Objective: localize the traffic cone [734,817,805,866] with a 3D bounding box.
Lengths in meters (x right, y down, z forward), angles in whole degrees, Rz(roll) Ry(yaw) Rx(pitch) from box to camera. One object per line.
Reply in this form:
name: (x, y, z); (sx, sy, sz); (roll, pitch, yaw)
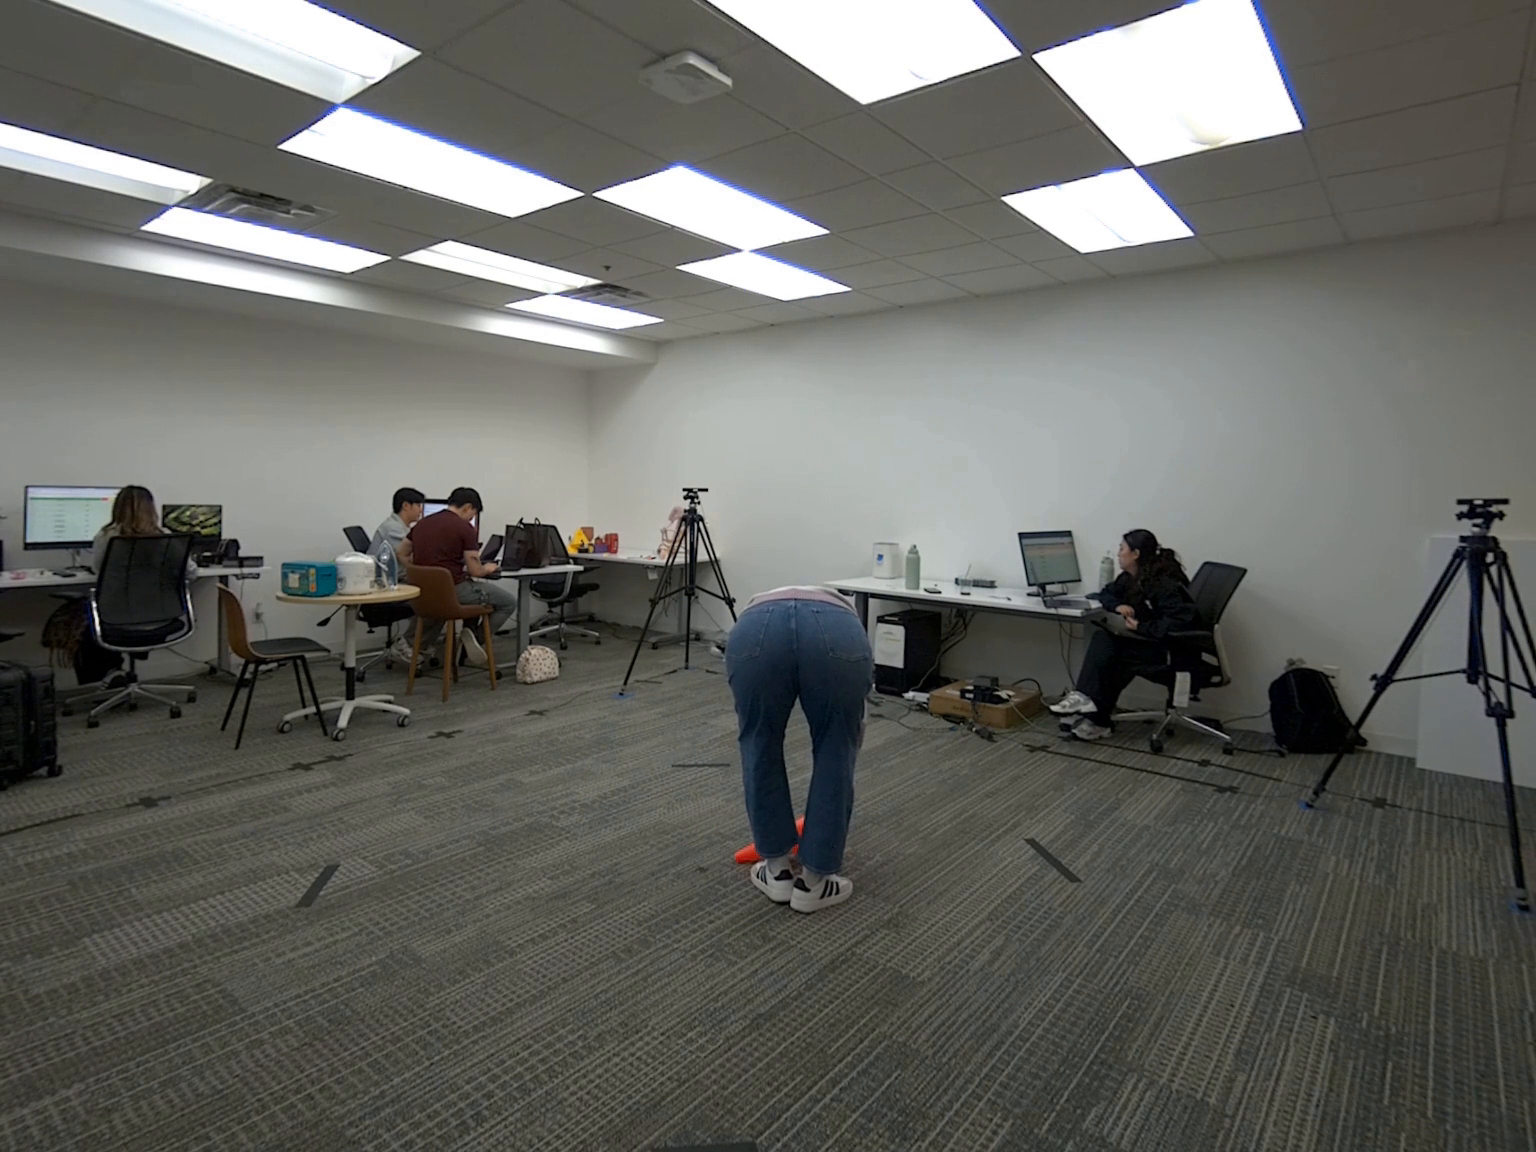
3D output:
traffic cone: (0.053, 1.002, 3.206); (0.383, 0.206, 0.202); (-14, -10, -1)
